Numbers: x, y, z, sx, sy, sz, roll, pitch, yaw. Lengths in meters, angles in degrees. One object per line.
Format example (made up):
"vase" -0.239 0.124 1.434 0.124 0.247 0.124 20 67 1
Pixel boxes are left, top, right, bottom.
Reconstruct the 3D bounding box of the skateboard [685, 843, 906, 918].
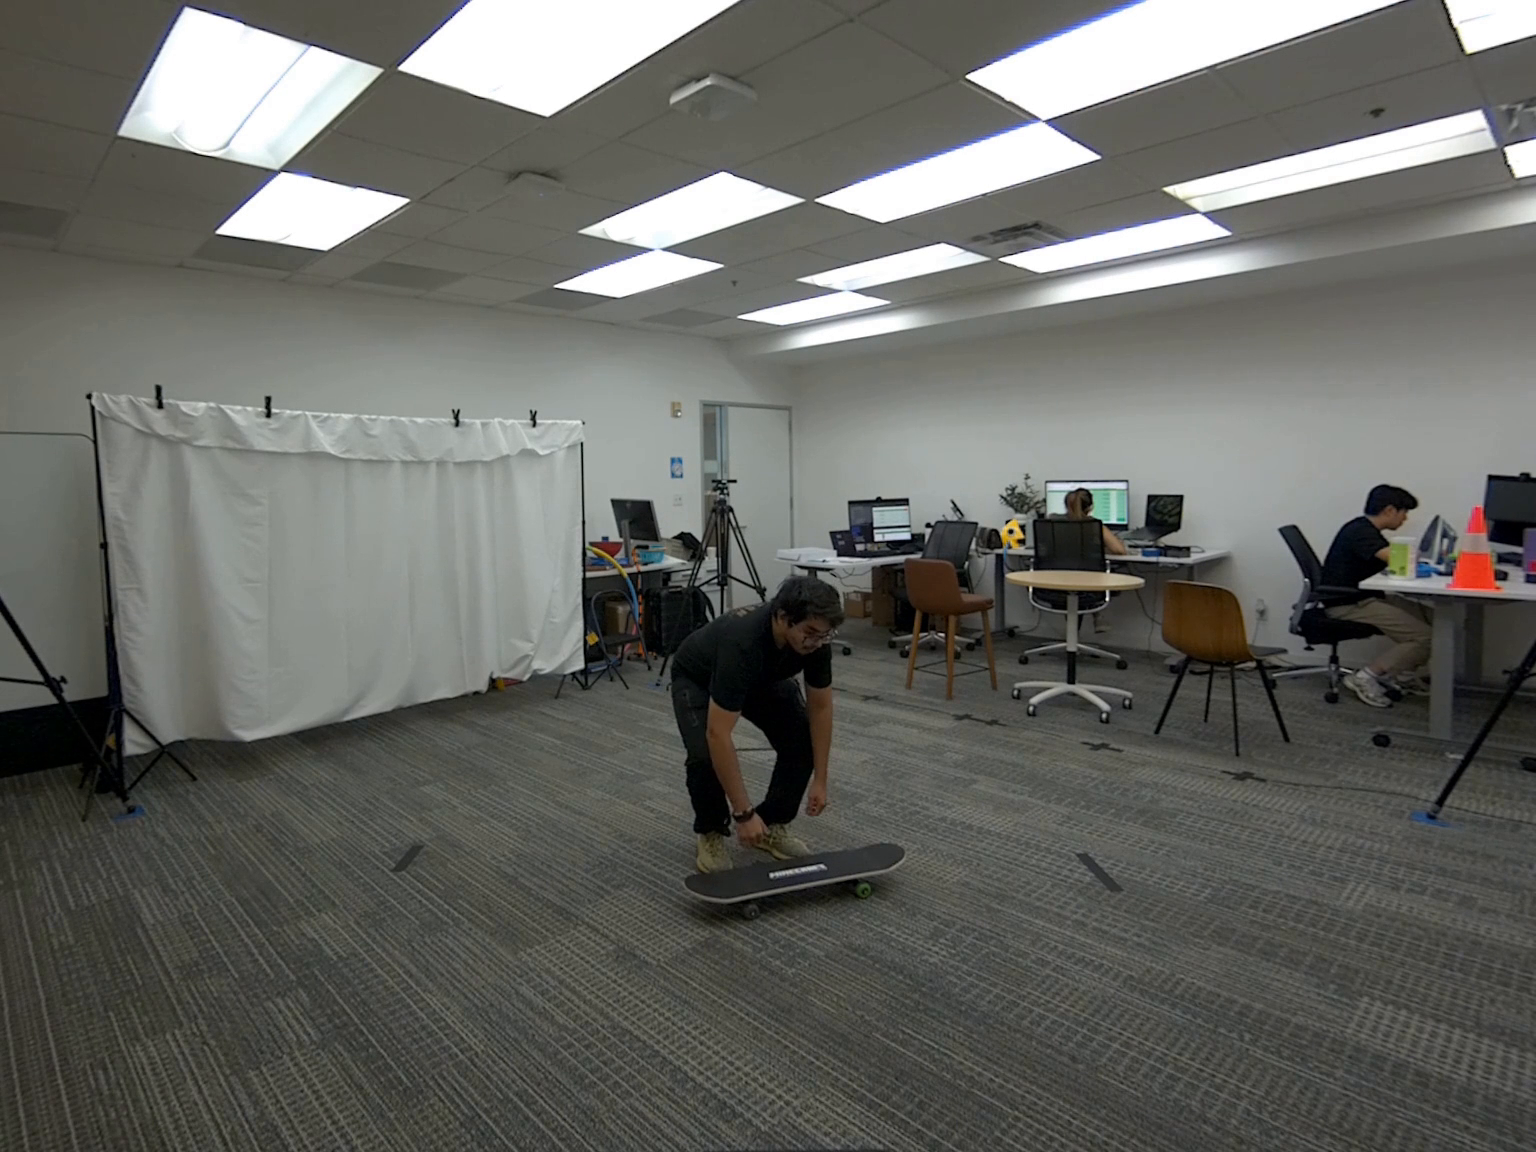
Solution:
"skateboard" 0.101 1.013 2.856 0.772 0.110 0.197 -4 5 -19
